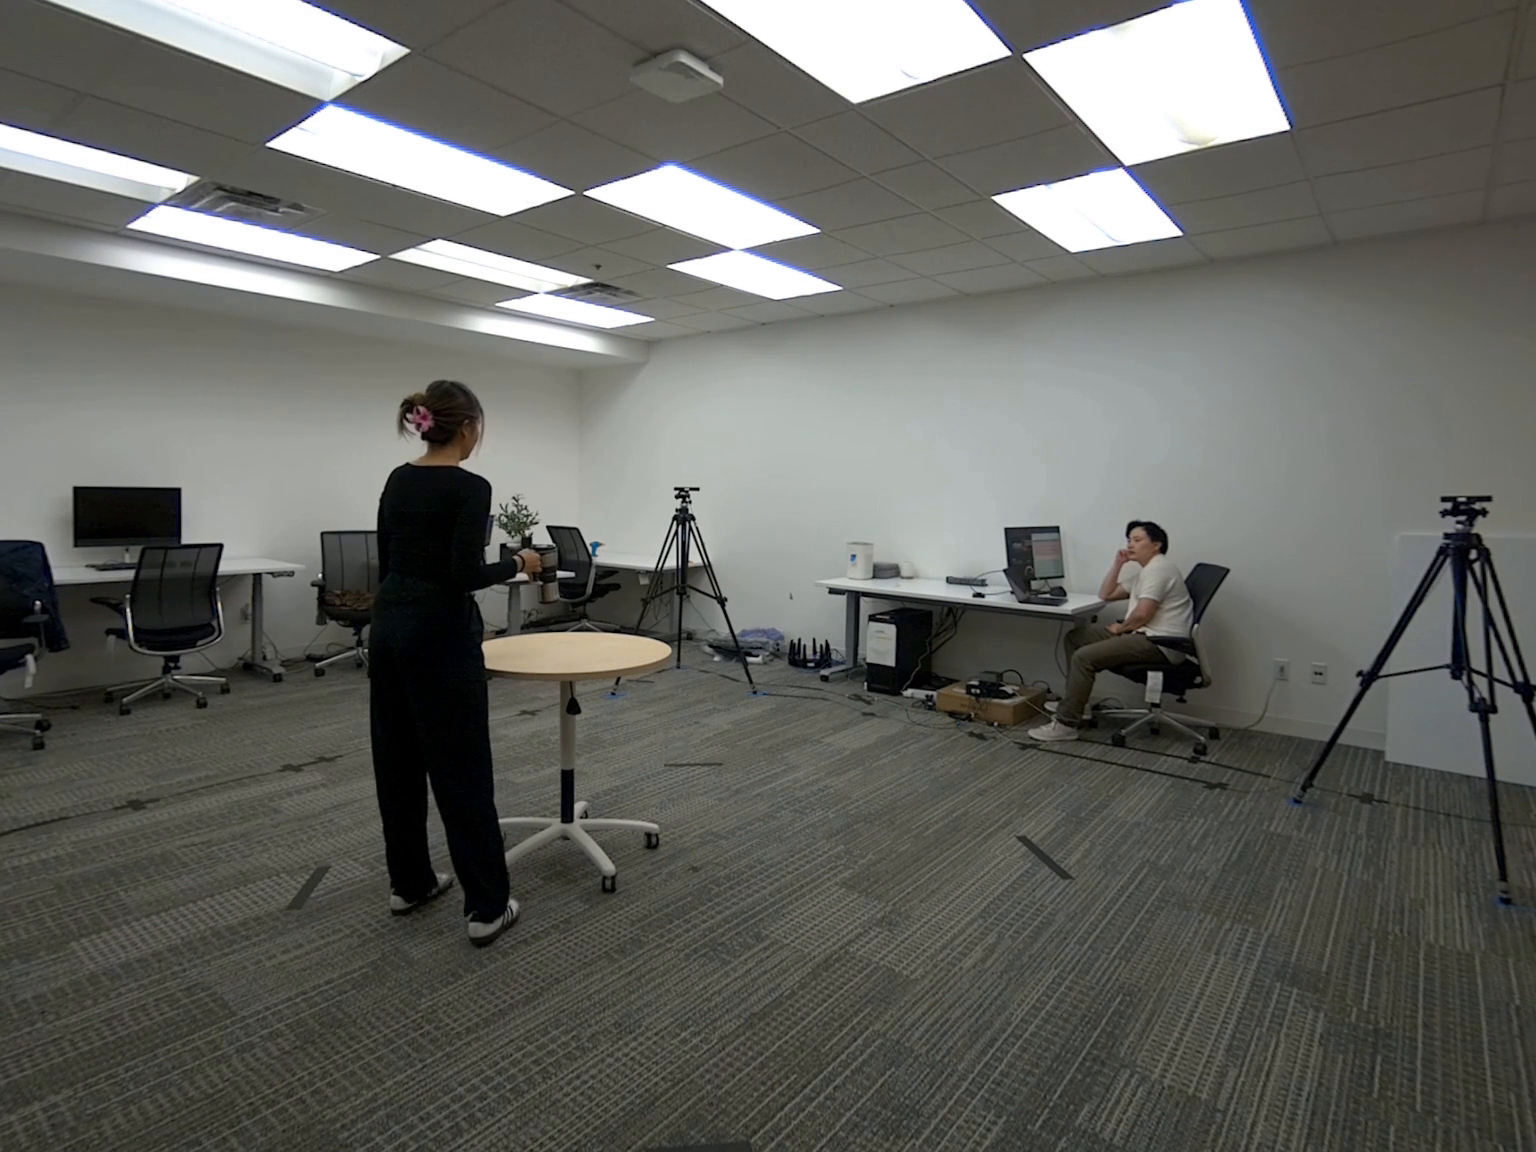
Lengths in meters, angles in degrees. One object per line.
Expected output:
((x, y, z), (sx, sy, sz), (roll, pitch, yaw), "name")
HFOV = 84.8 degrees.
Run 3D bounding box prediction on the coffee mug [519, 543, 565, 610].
((-0.787, -0.002, 2.924), (0.091, 0.201, 0.119), (9, 11, 38), "coffee mug")
